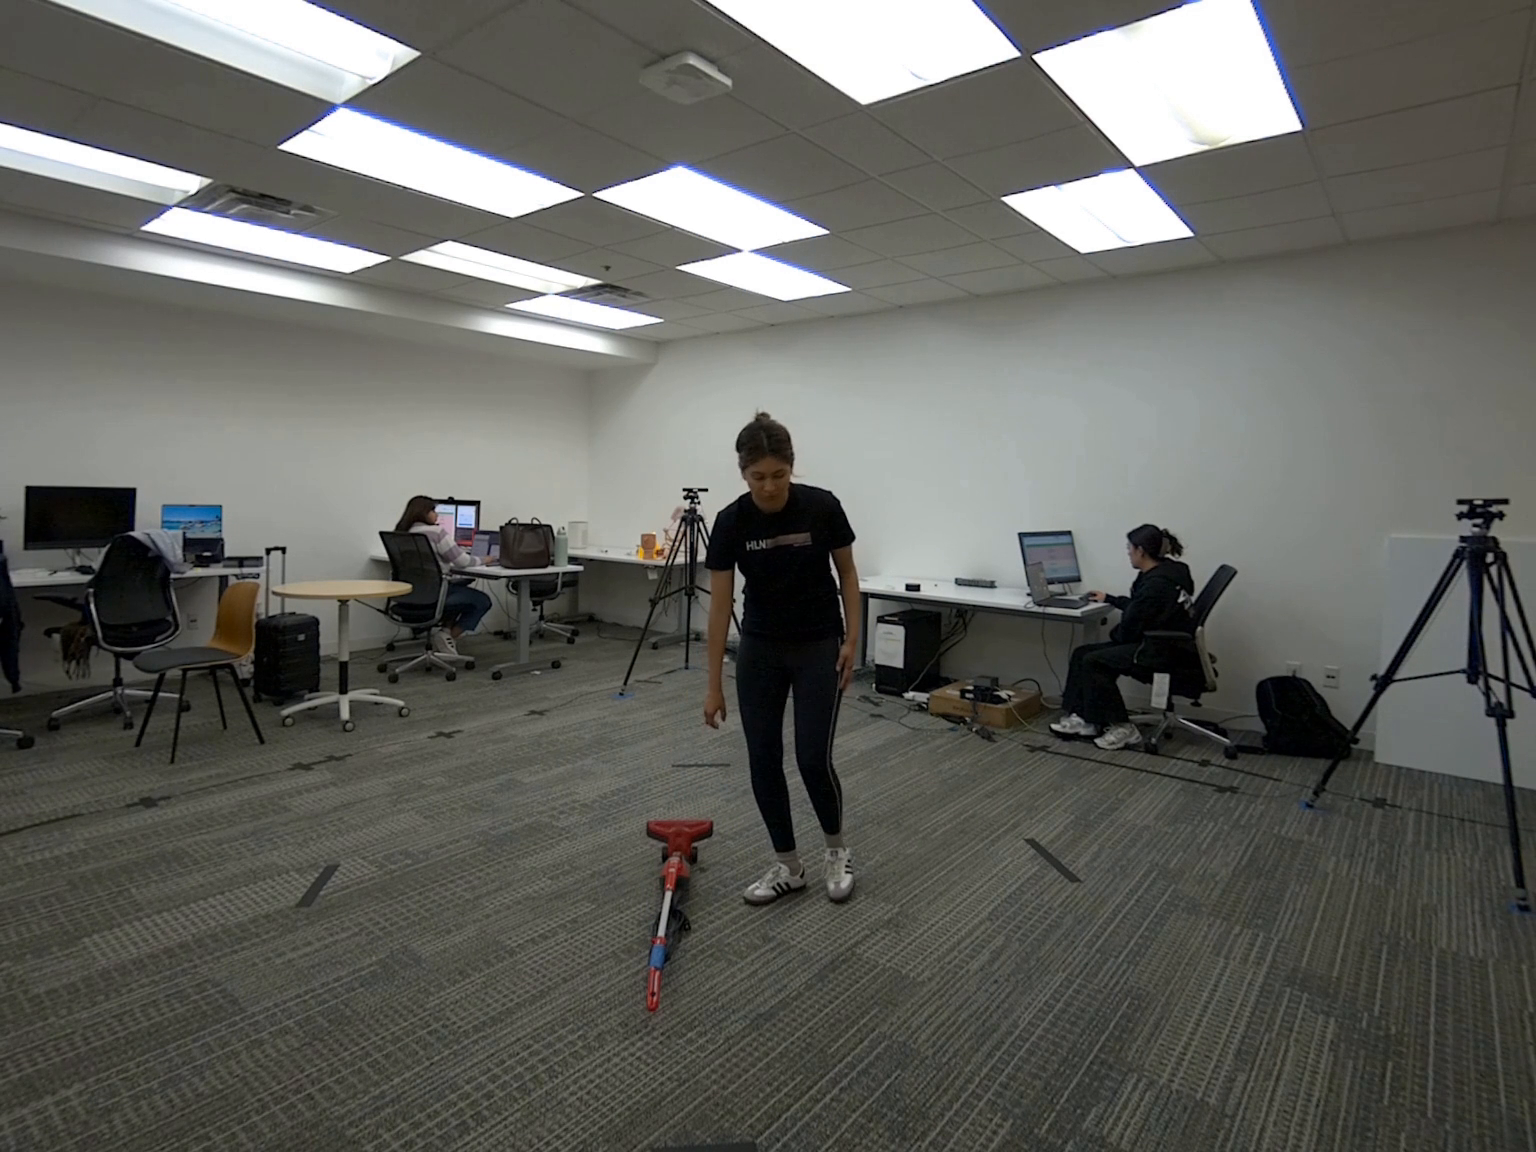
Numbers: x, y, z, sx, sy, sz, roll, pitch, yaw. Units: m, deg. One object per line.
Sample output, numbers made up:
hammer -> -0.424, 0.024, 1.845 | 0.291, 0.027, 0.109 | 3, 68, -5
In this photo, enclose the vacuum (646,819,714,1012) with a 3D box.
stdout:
vacuum -> -0.313, 1.048, 2.680 | 0.252, 0.143, 1.056 | -2, 7, -3
